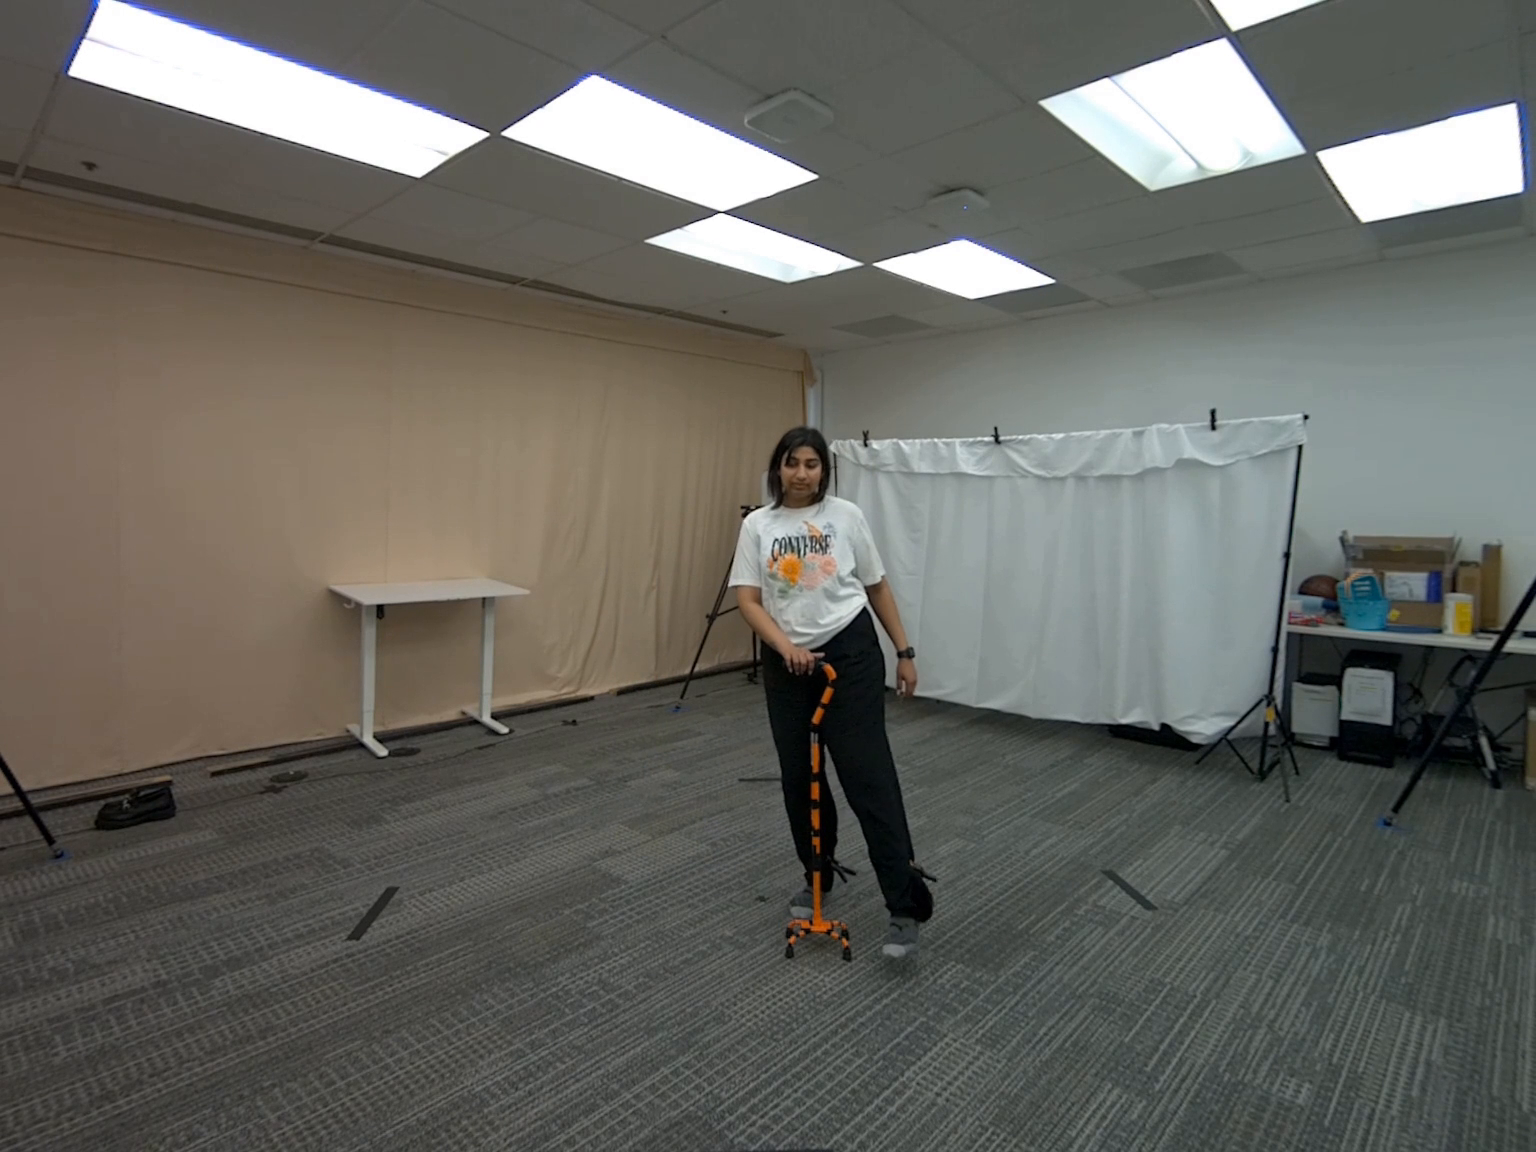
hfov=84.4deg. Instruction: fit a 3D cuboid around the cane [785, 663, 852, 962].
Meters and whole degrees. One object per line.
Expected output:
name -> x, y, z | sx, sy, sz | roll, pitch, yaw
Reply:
cane -> 0.151, 0.715, 2.640 | 0.208, 0.907, 0.151 | -1, 2, 5
